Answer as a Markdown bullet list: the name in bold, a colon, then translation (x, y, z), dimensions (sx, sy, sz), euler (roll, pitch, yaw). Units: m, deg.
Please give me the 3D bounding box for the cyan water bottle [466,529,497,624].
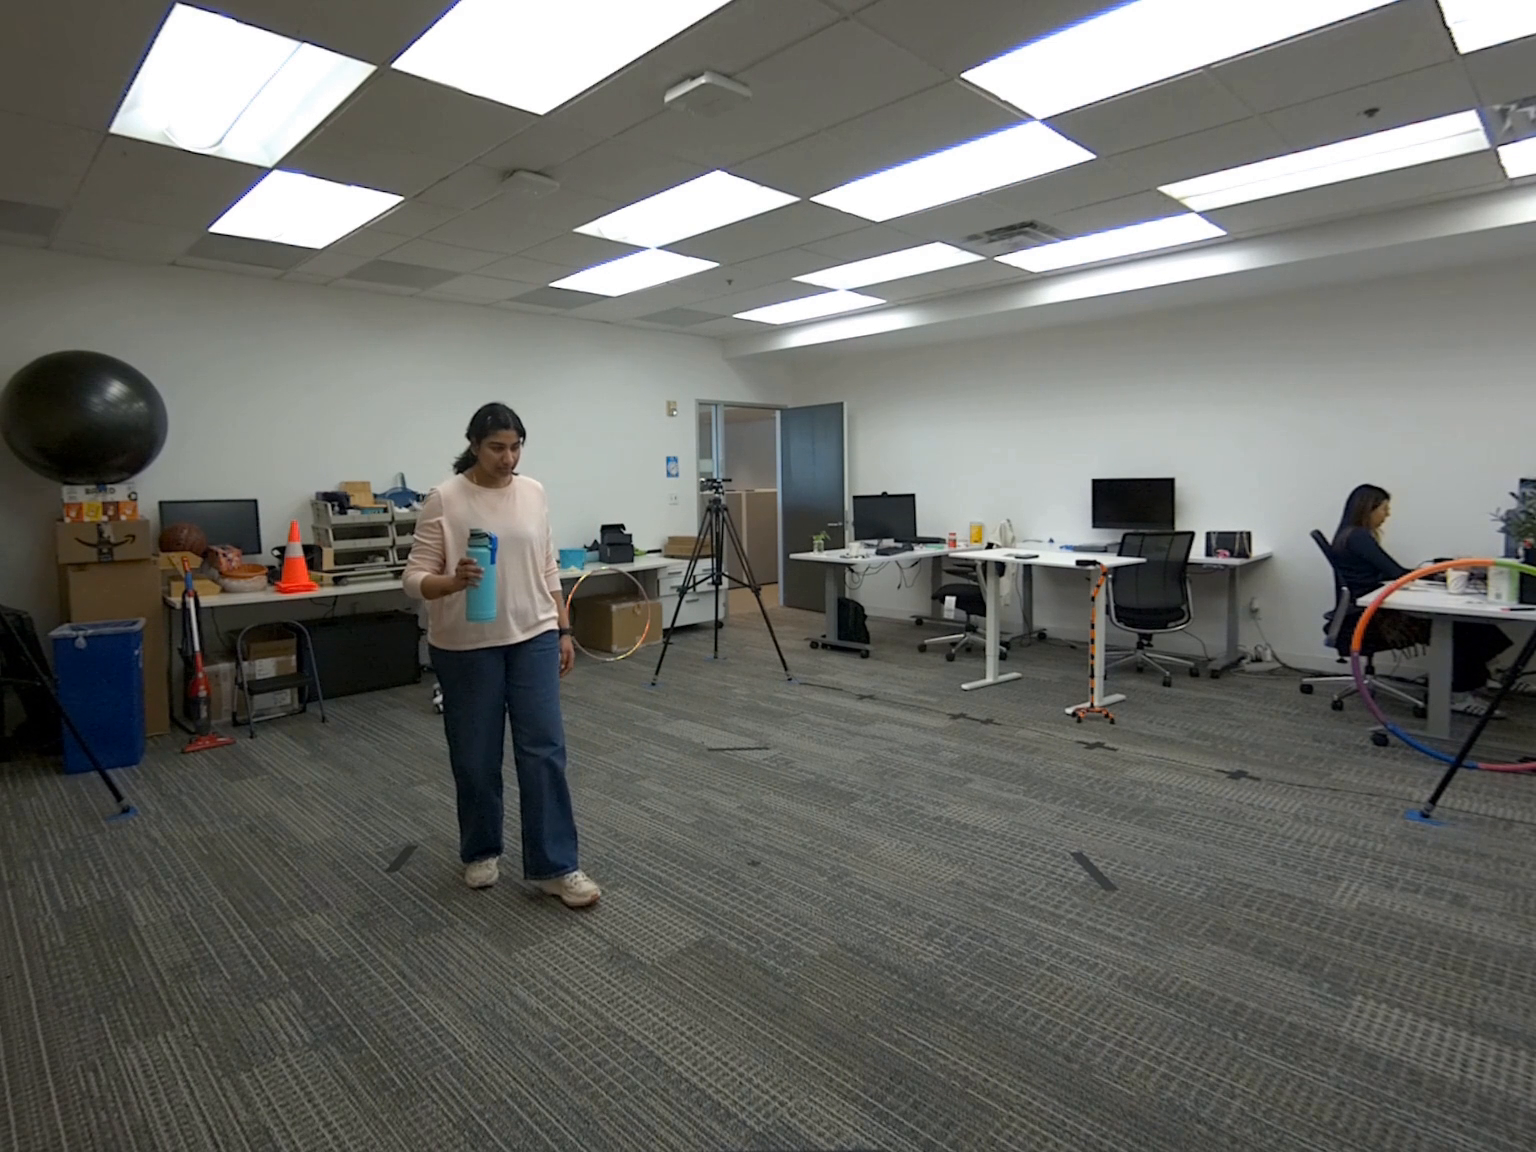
- **cyan water bottle**: translation (-0.887, -0.006, 2.618), dimensions (0.092, 0.282, 0.093), euler (6, 5, -2)
